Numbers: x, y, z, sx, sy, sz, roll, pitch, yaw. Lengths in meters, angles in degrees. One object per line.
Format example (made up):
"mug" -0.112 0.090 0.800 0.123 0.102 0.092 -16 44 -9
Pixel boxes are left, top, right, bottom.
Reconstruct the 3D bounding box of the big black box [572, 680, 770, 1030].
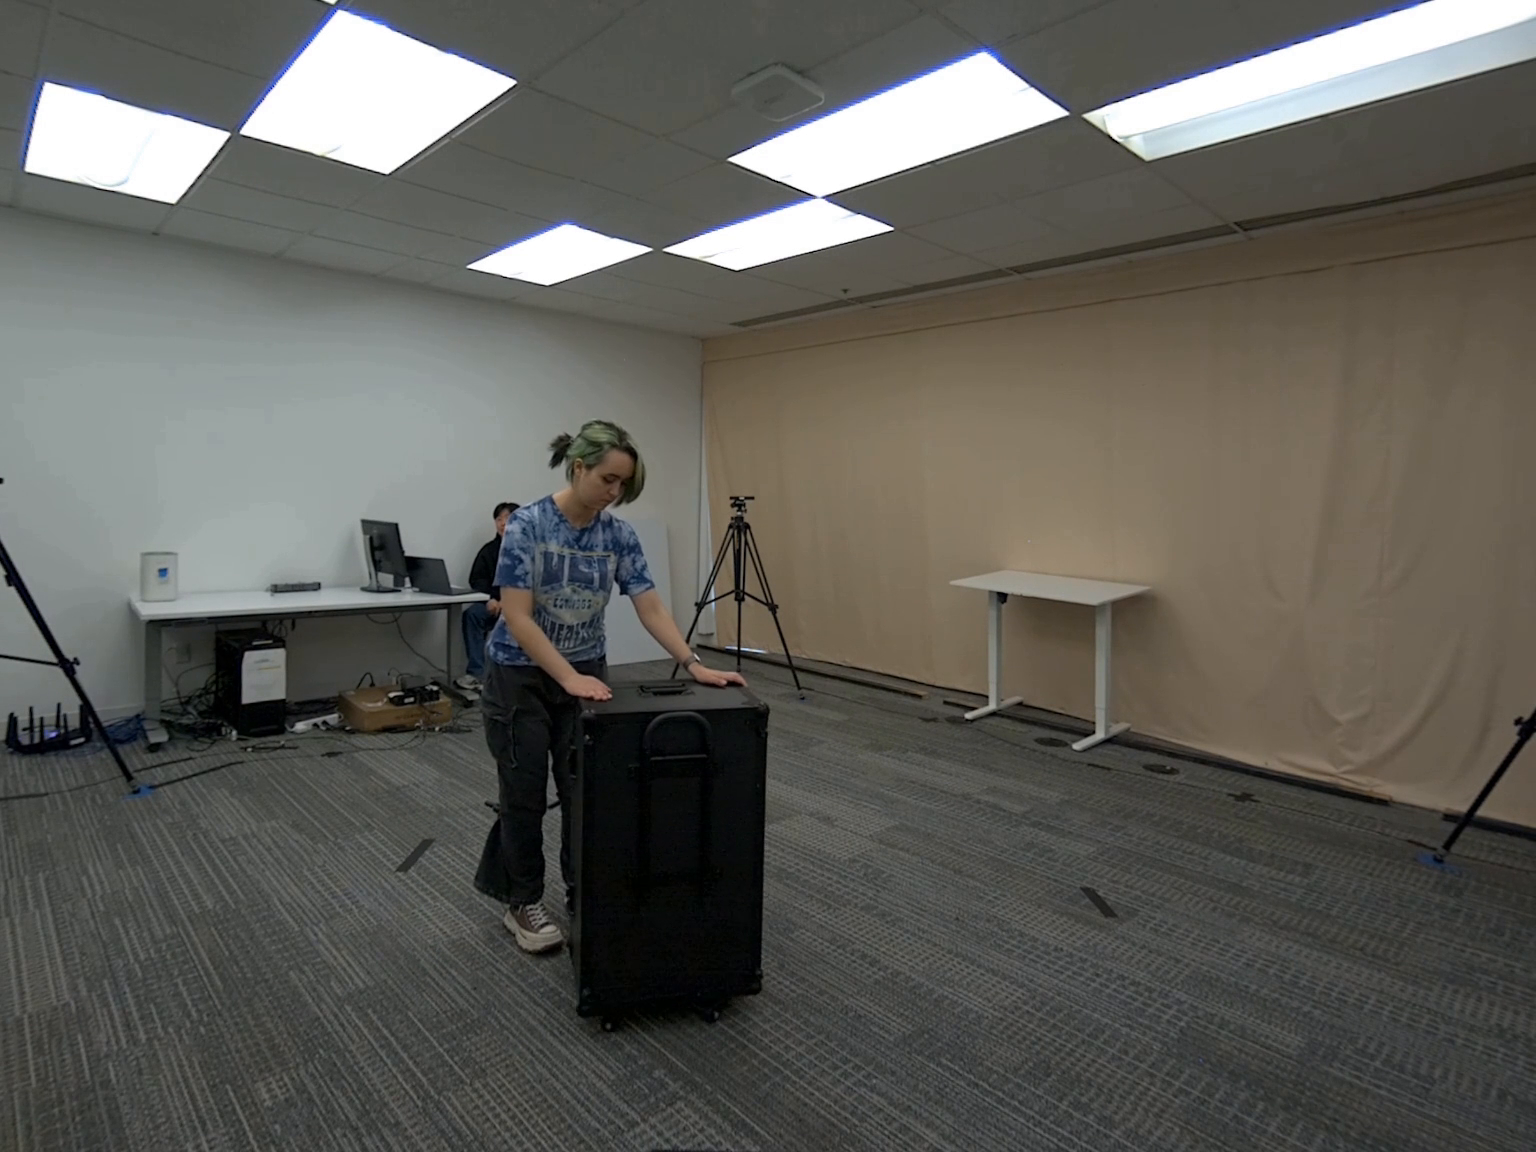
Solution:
"big black box" -0.285 0.751 2.313 0.515 0.859 0.402 0 5 -15
